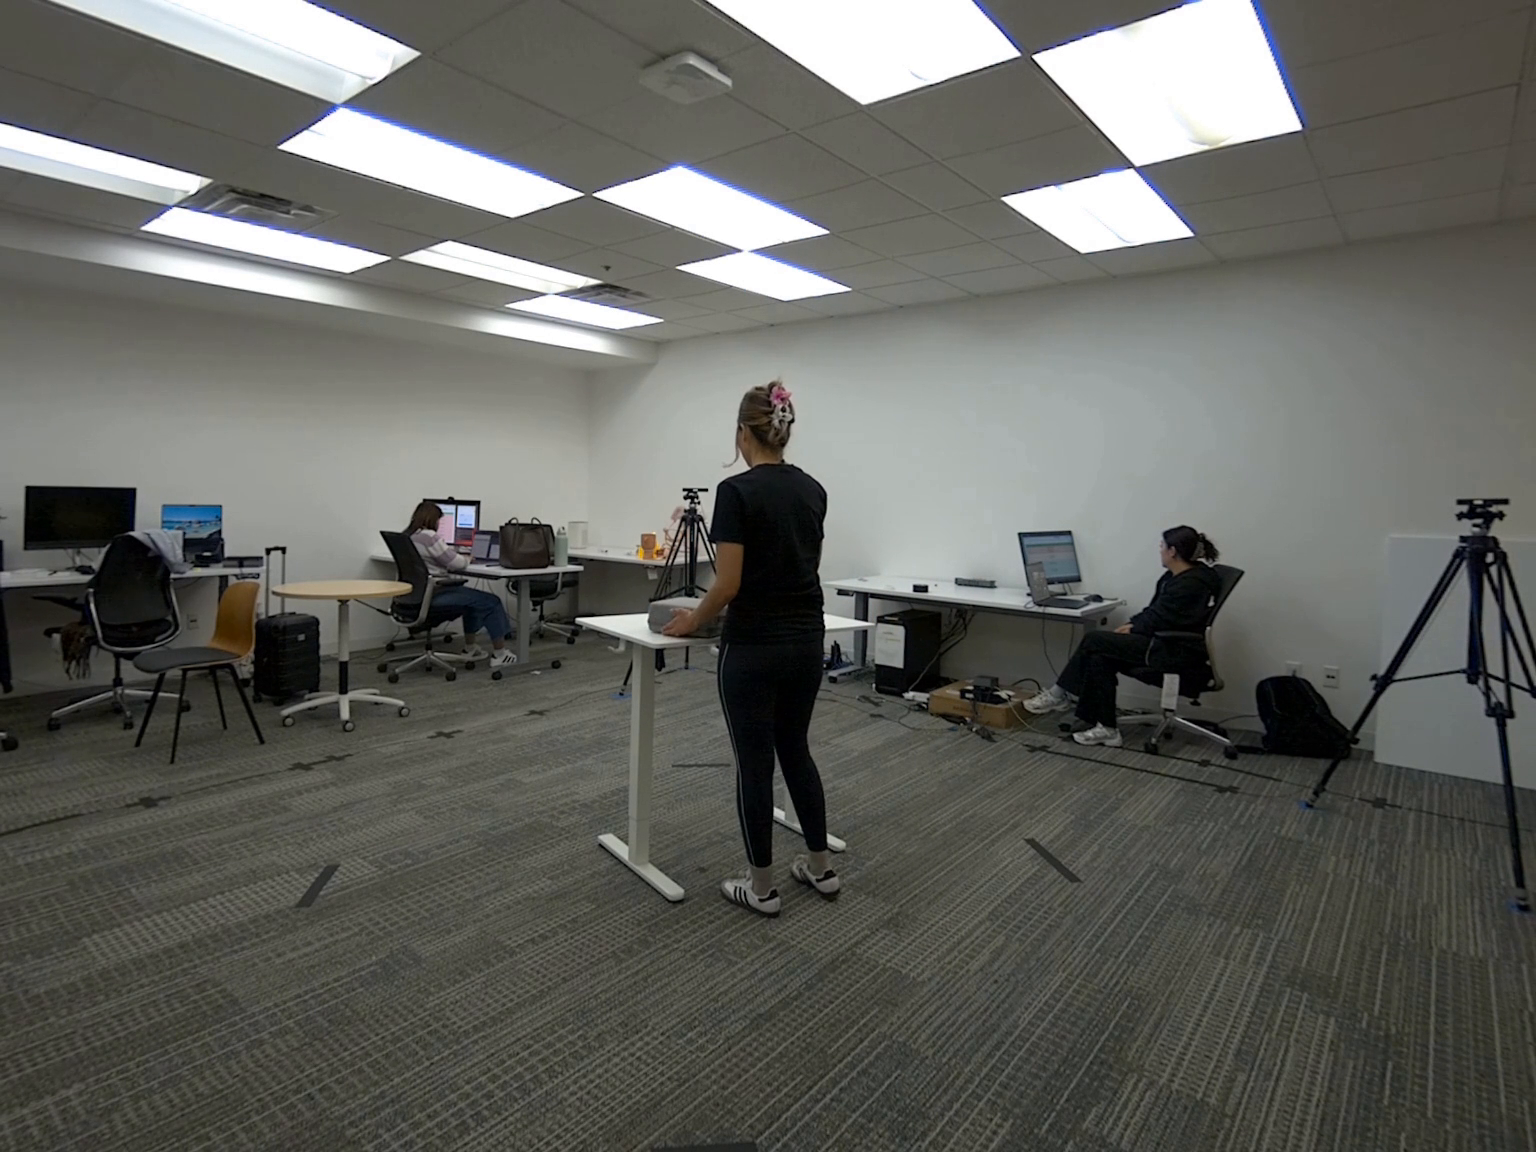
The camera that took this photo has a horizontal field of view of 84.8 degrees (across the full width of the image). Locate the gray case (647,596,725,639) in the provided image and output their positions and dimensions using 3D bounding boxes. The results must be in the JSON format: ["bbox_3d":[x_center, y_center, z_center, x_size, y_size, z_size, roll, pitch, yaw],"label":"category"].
[{"bbox_3d":[-0.277,0.140,3.012,0.267,0.104,0.251,5,4,22],"label":"gray case"}]
